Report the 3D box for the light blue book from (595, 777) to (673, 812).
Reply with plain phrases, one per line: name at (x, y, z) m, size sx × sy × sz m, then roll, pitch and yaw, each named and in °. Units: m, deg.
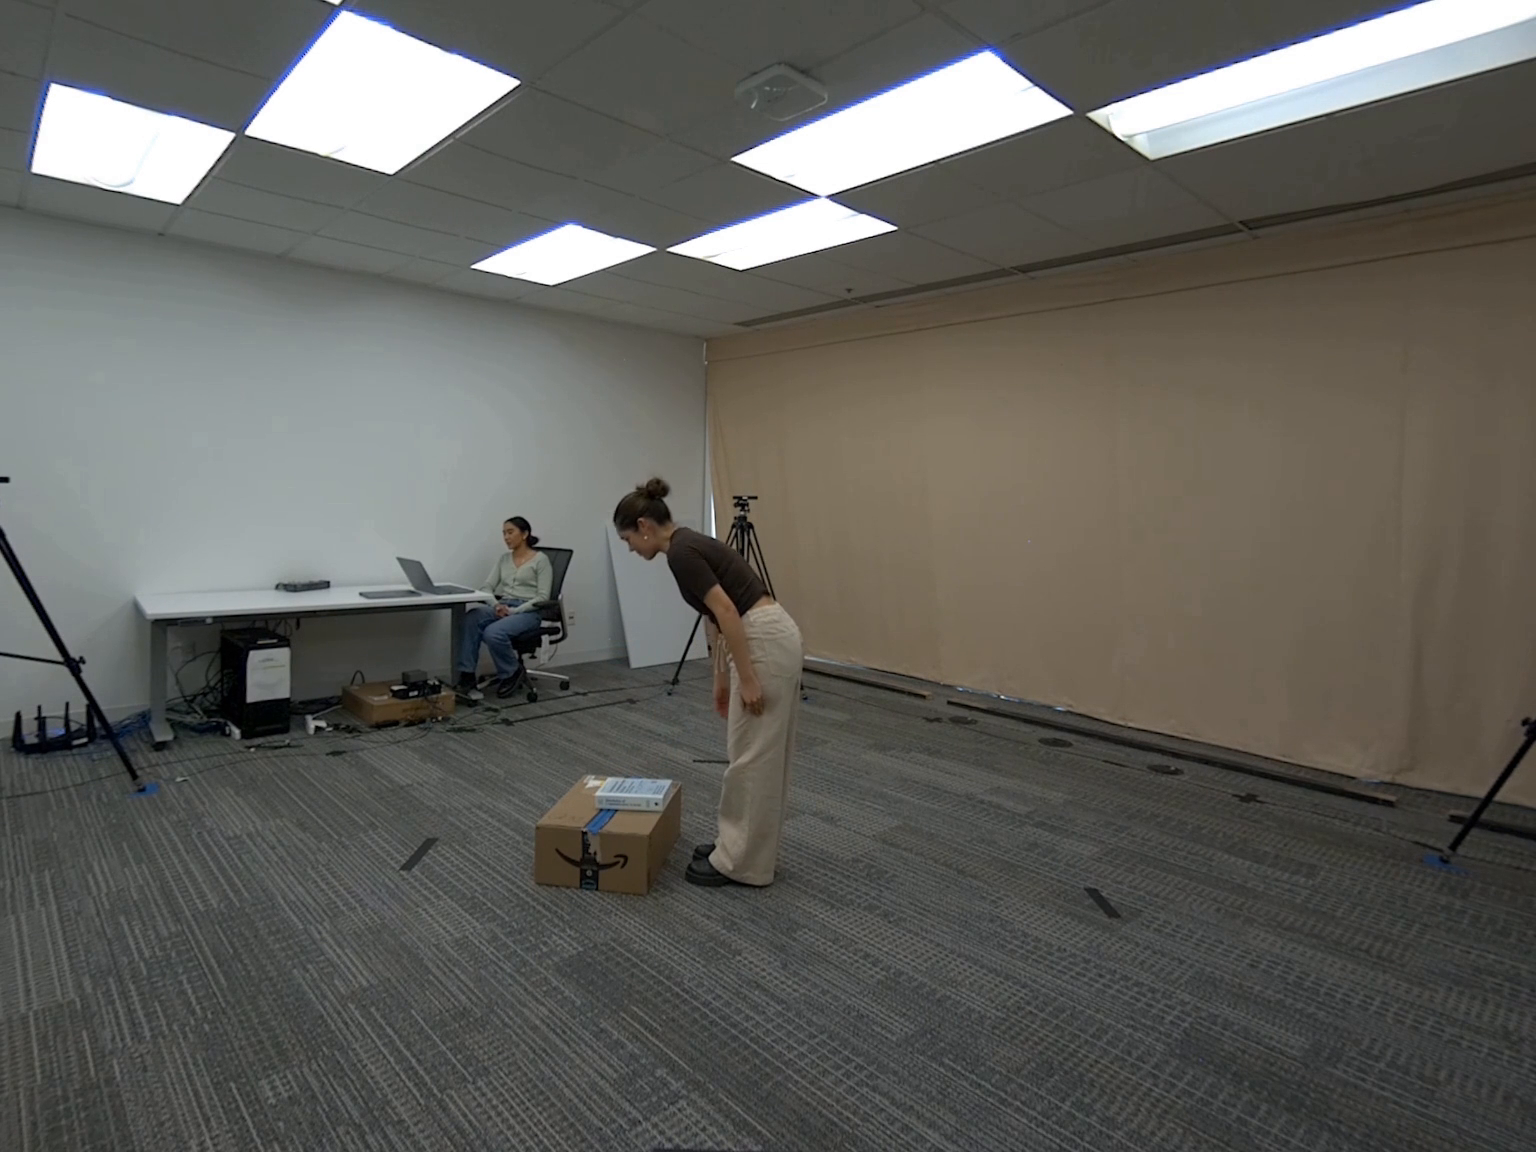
light blue book at (-0.518, 0.838, 3.242) m, size 0.262 × 0.059 × 0.191 m, roll 1°, pitch 6°, yaw 7°
